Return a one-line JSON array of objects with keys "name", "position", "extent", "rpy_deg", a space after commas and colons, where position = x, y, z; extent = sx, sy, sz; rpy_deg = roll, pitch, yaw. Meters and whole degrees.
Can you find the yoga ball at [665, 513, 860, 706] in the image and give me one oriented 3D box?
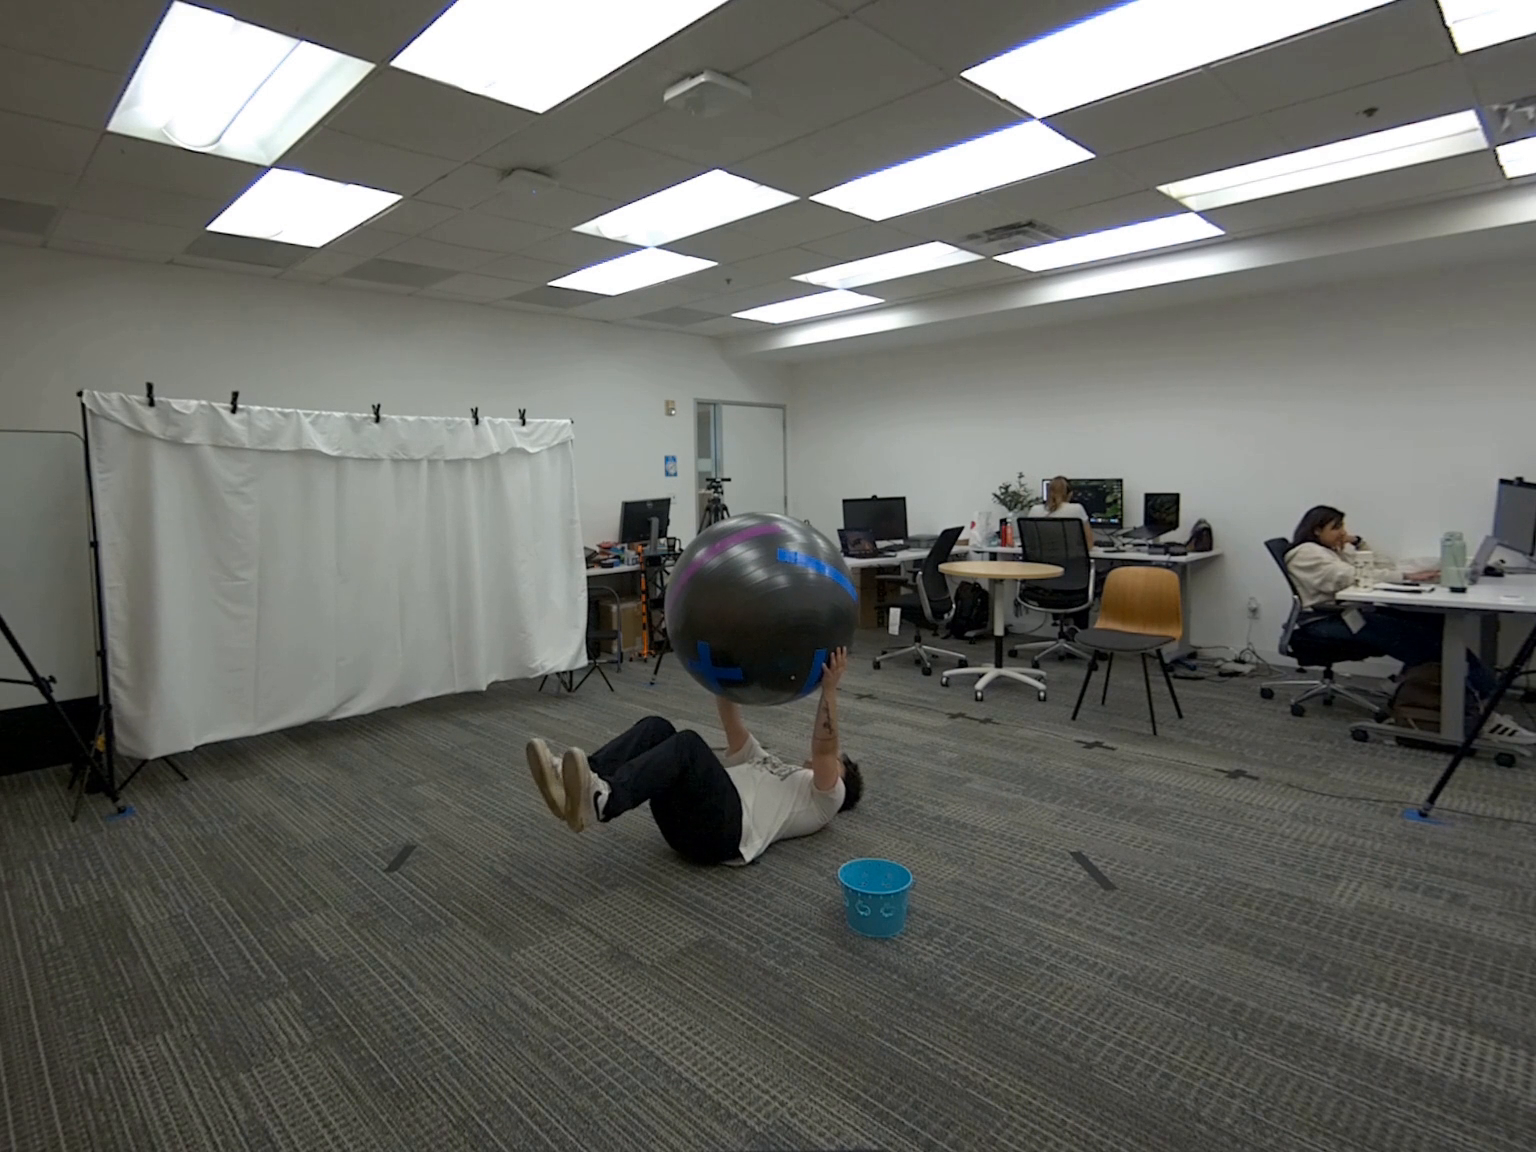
[{"name": "yoga ball", "position": [-0.028, 0.133, 3.353], "extent": [0.757, 0.755, 0.762], "rpy_deg": [-1, 5, -2]}]
